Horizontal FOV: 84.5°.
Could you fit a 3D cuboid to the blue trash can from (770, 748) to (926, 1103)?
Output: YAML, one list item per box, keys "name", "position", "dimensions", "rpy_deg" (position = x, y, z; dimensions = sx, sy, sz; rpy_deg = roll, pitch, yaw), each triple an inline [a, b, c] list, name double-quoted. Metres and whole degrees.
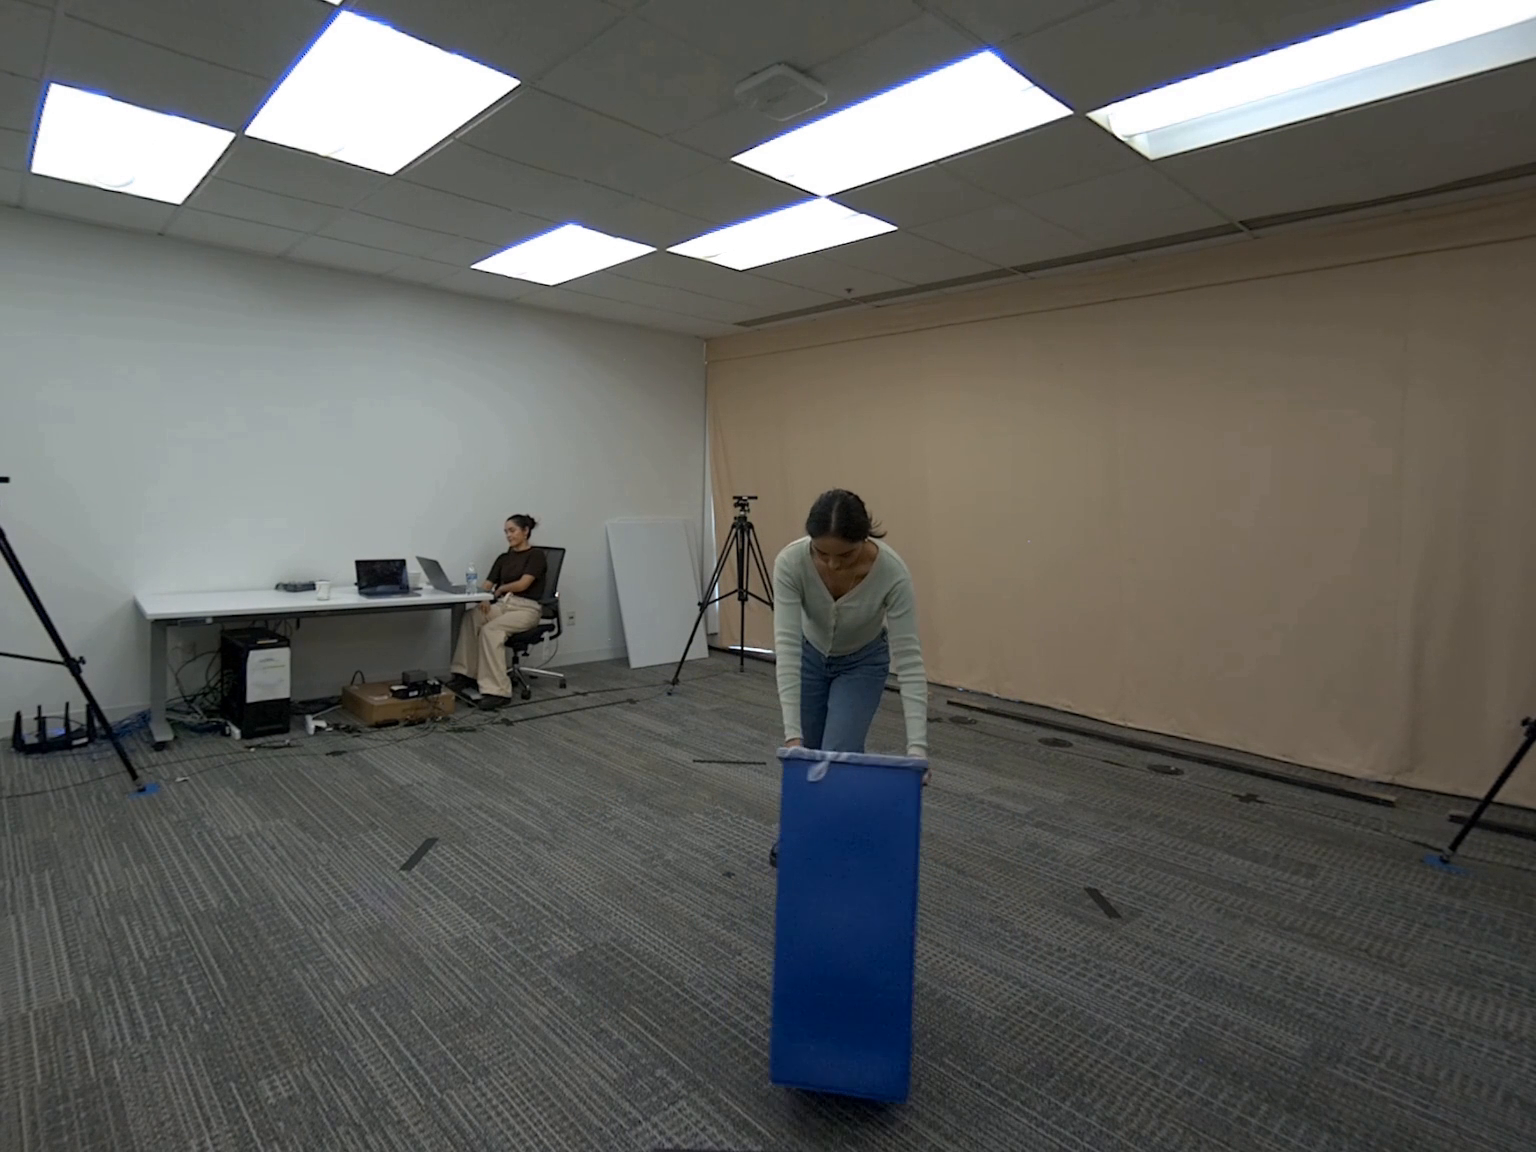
- name: "blue trash can"
  position: [0.182, 0.825, 2.082]
  dimensions: [0.381, 0.722, 0.367]
  rpy_deg: [2, -19, 7]
